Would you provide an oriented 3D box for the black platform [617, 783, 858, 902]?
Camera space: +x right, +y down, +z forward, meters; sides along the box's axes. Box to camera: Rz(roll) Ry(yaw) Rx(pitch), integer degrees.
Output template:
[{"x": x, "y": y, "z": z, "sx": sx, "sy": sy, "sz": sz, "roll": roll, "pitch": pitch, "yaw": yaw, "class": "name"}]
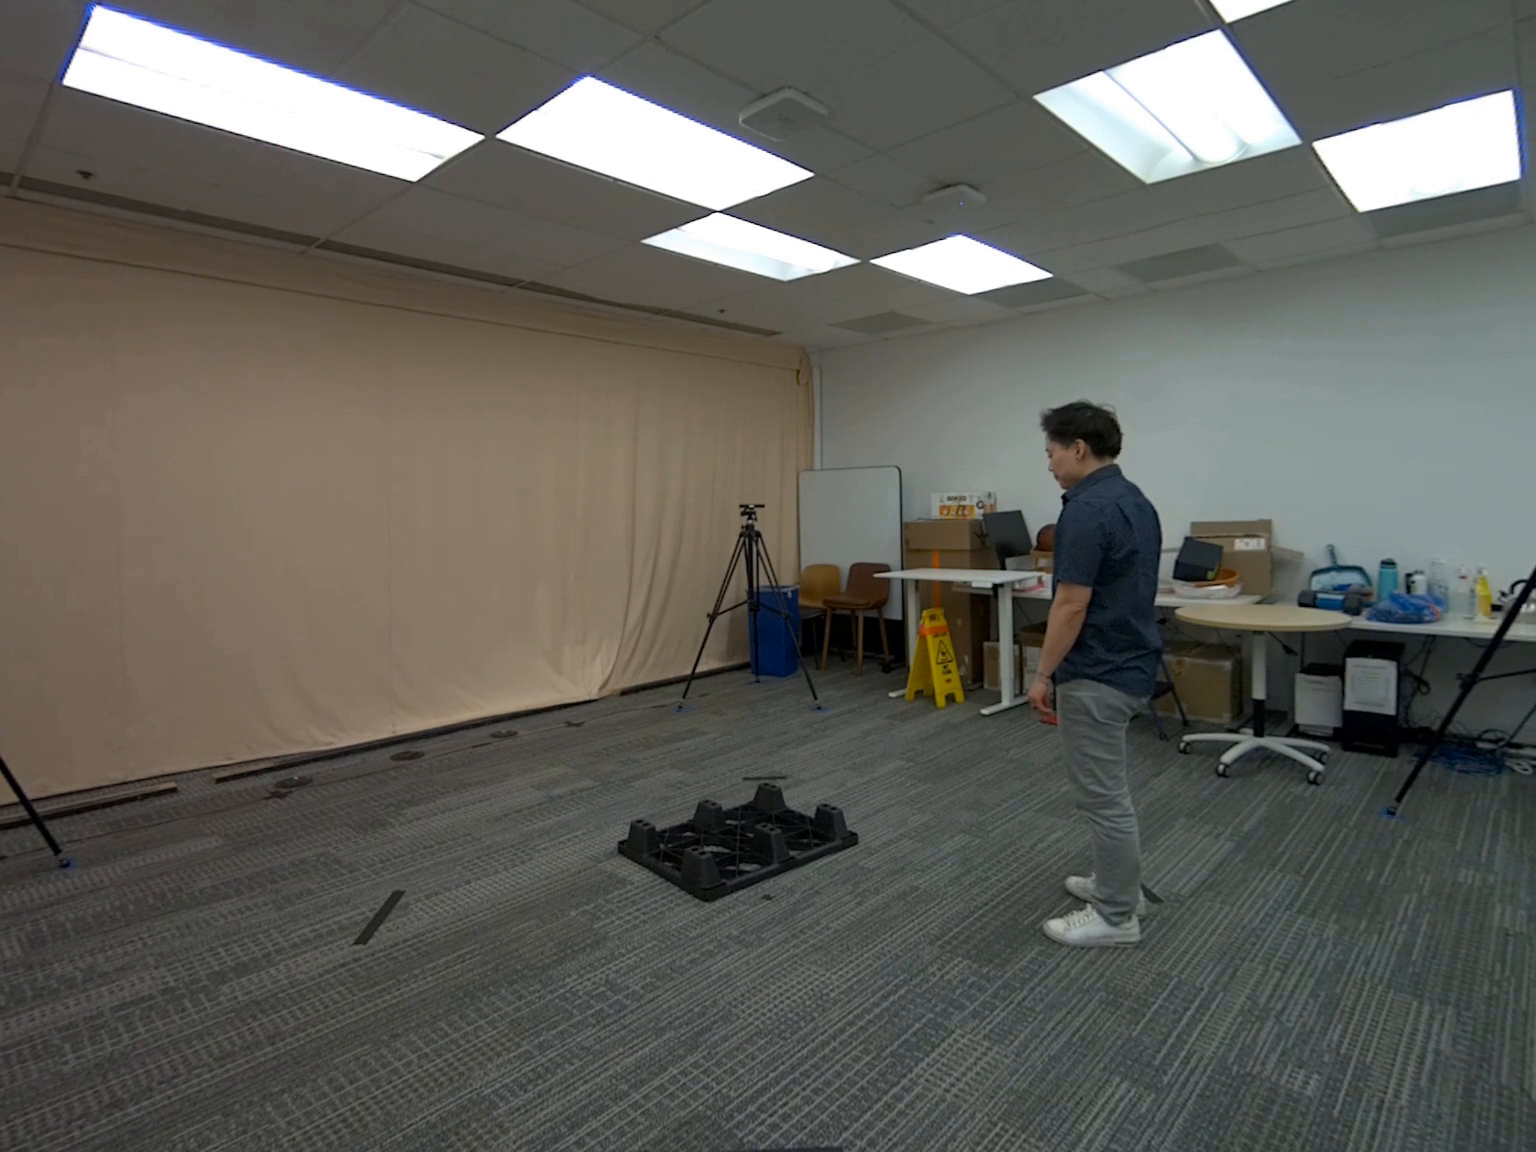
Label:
[{"x": -0.119, "y": 1.038, "z": 3.426, "sx": 0.781, "sy": 0.143, "sz": 0.625, "roll": -5, "pitch": 6, "yaw": -40, "class": "black platform"}]
